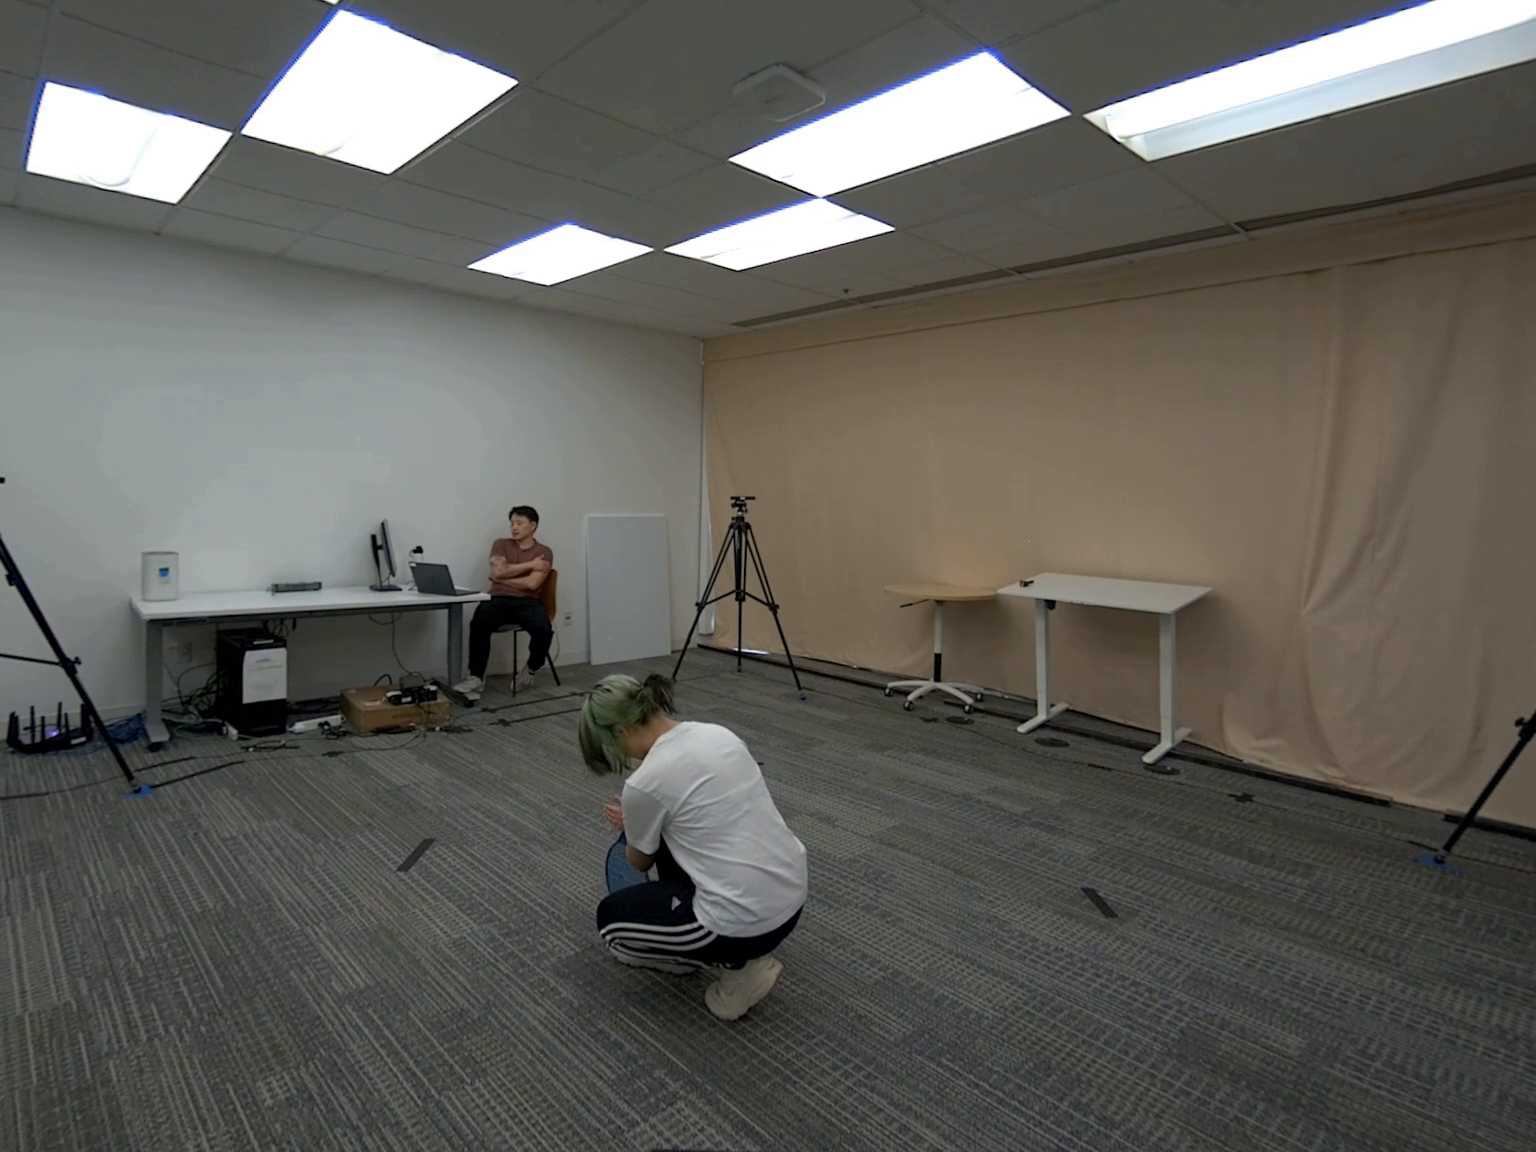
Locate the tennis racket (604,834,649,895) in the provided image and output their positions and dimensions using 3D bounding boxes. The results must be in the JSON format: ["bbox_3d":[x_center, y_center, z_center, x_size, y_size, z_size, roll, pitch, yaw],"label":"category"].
[{"bbox_3d":[-0.467,0.919,2.738,0.219,0.431,0.031,5,8,39],"label":"tennis racket"}]
